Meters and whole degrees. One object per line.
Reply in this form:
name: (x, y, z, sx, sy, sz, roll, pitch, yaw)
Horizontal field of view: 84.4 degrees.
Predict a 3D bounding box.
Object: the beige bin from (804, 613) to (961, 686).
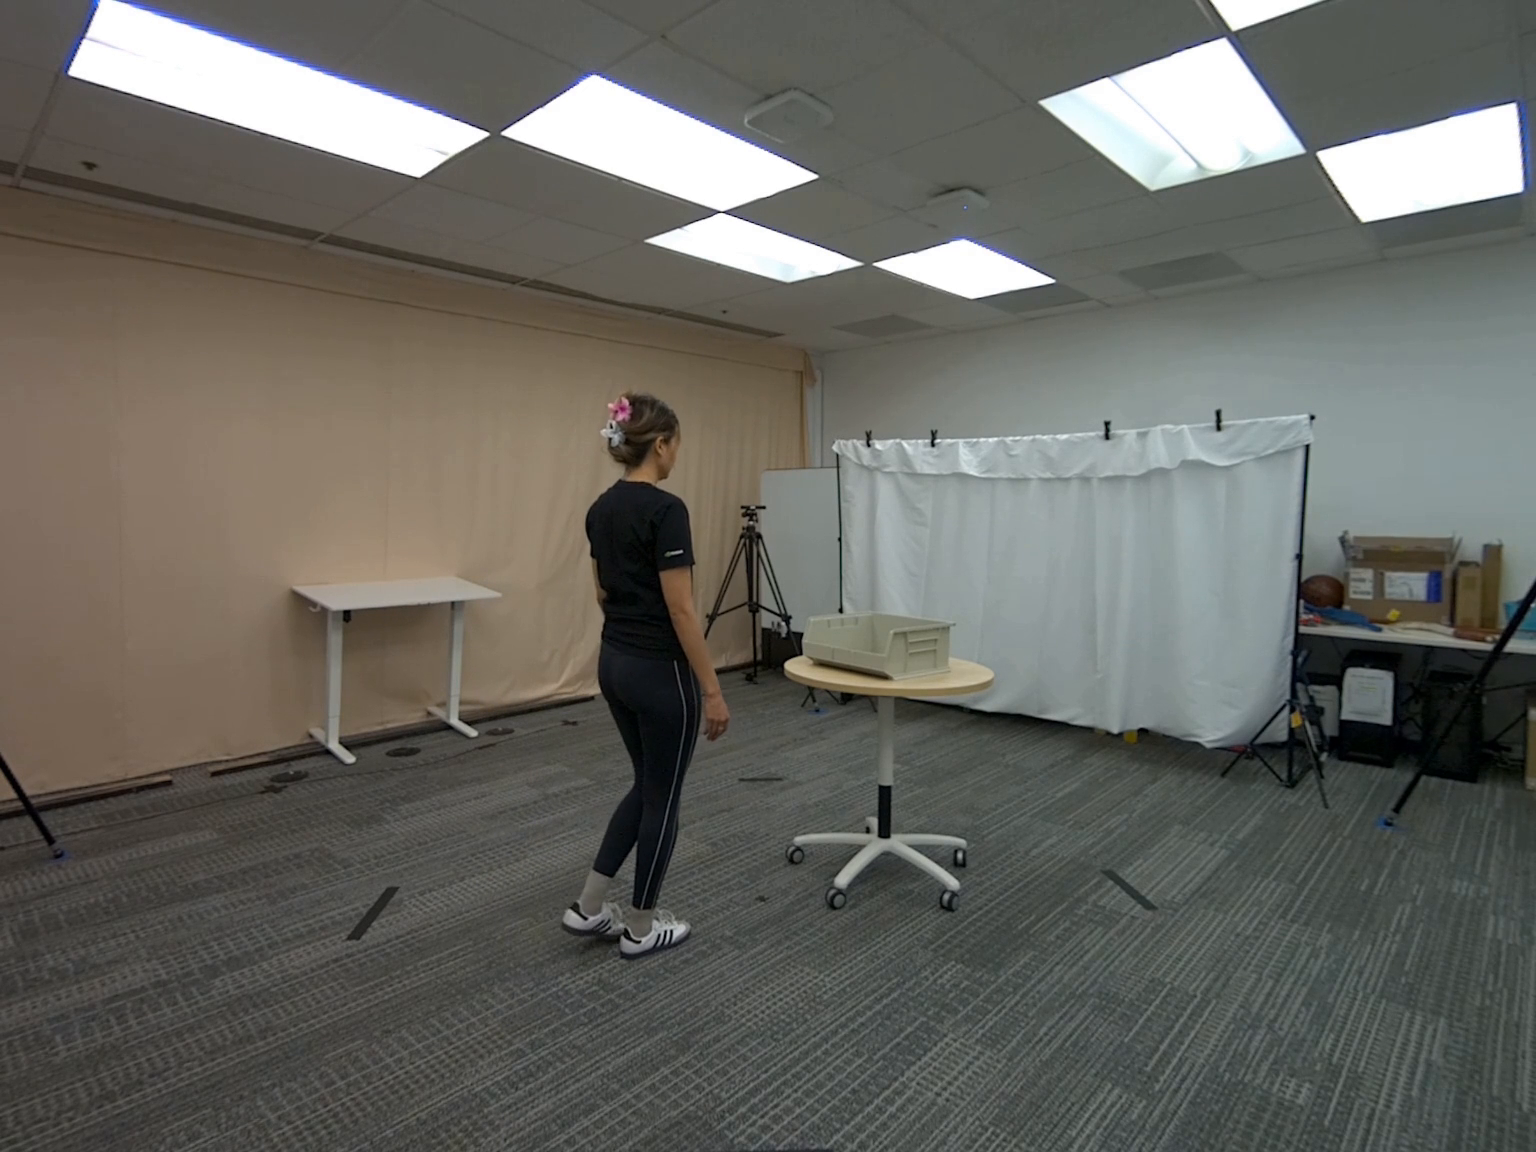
beige bin: (0.418, 0.258, 3.148, 0.366, 0.189, 0.436, -1, 4, -40)
